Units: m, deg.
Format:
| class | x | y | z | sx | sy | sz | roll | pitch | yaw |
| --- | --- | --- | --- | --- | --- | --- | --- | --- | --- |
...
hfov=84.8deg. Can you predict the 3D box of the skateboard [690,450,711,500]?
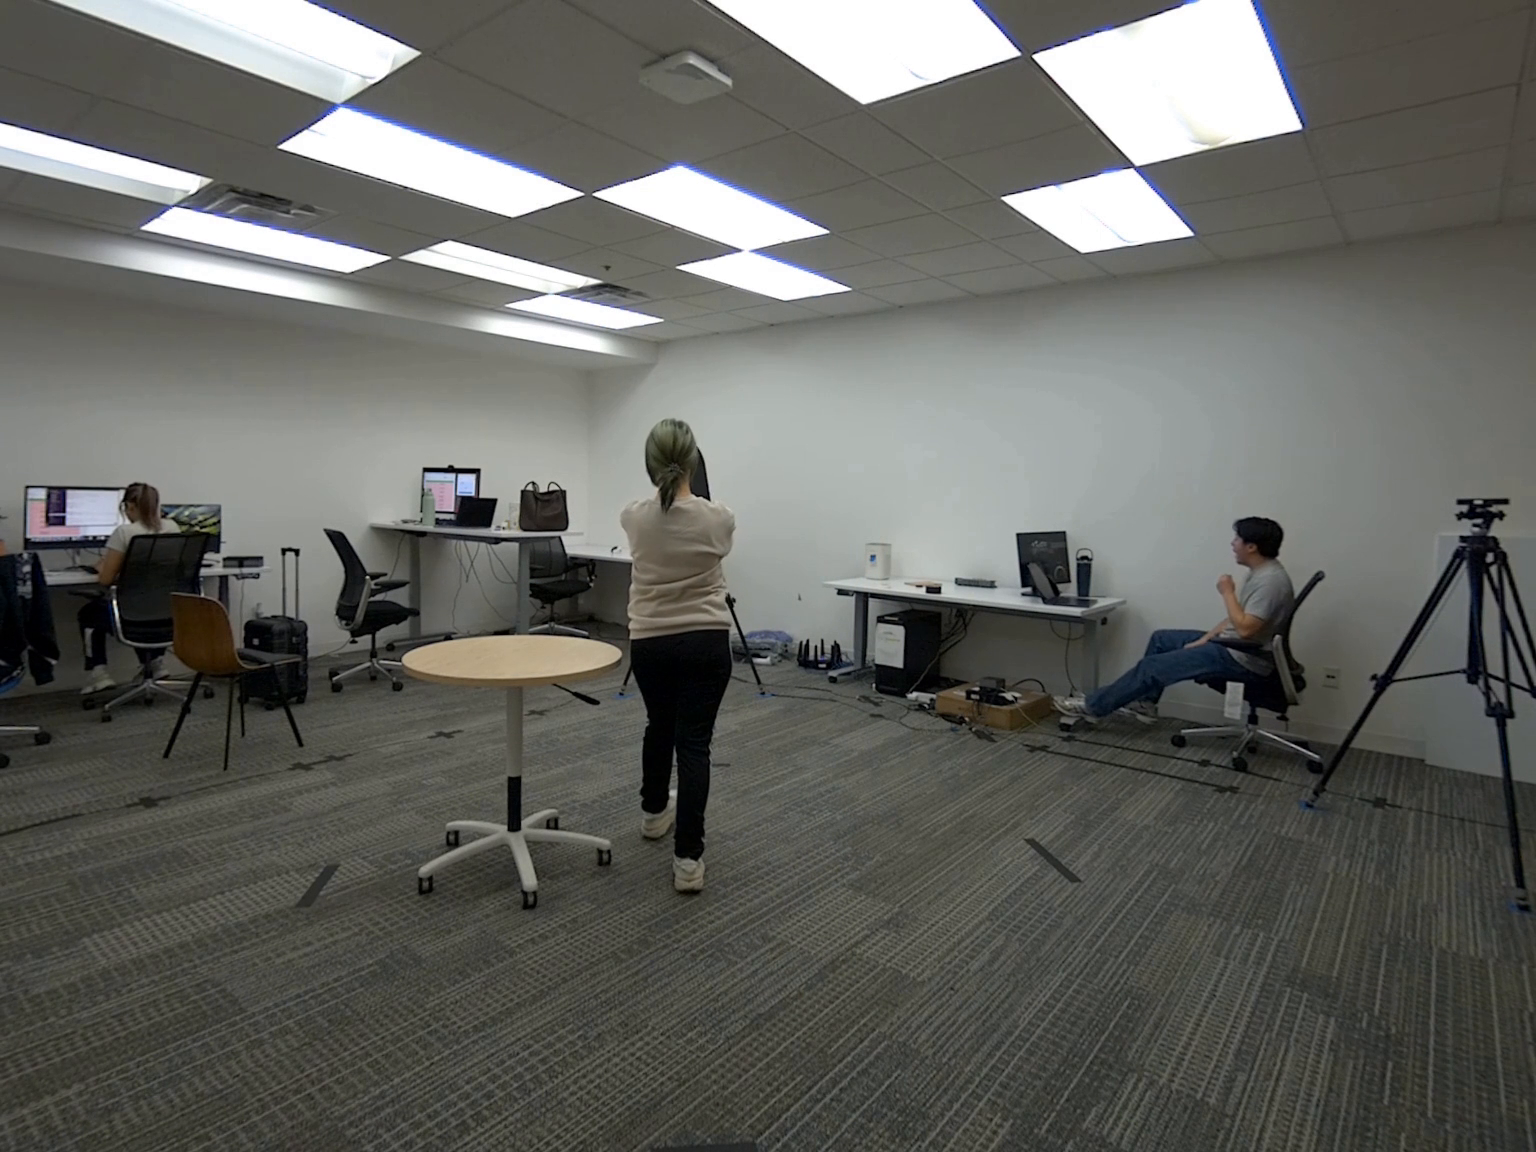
| class | x | y | z | sx | sy | sz | roll | pitch | yaw |
| --- | --- | --- | --- | --- | --- | --- | --- | --- | --- |
| skateboard | -0.339 | -0.191 | 3.637 | 0.193 | 0.792 | 0.110 | -8 | -7 | -3 |
